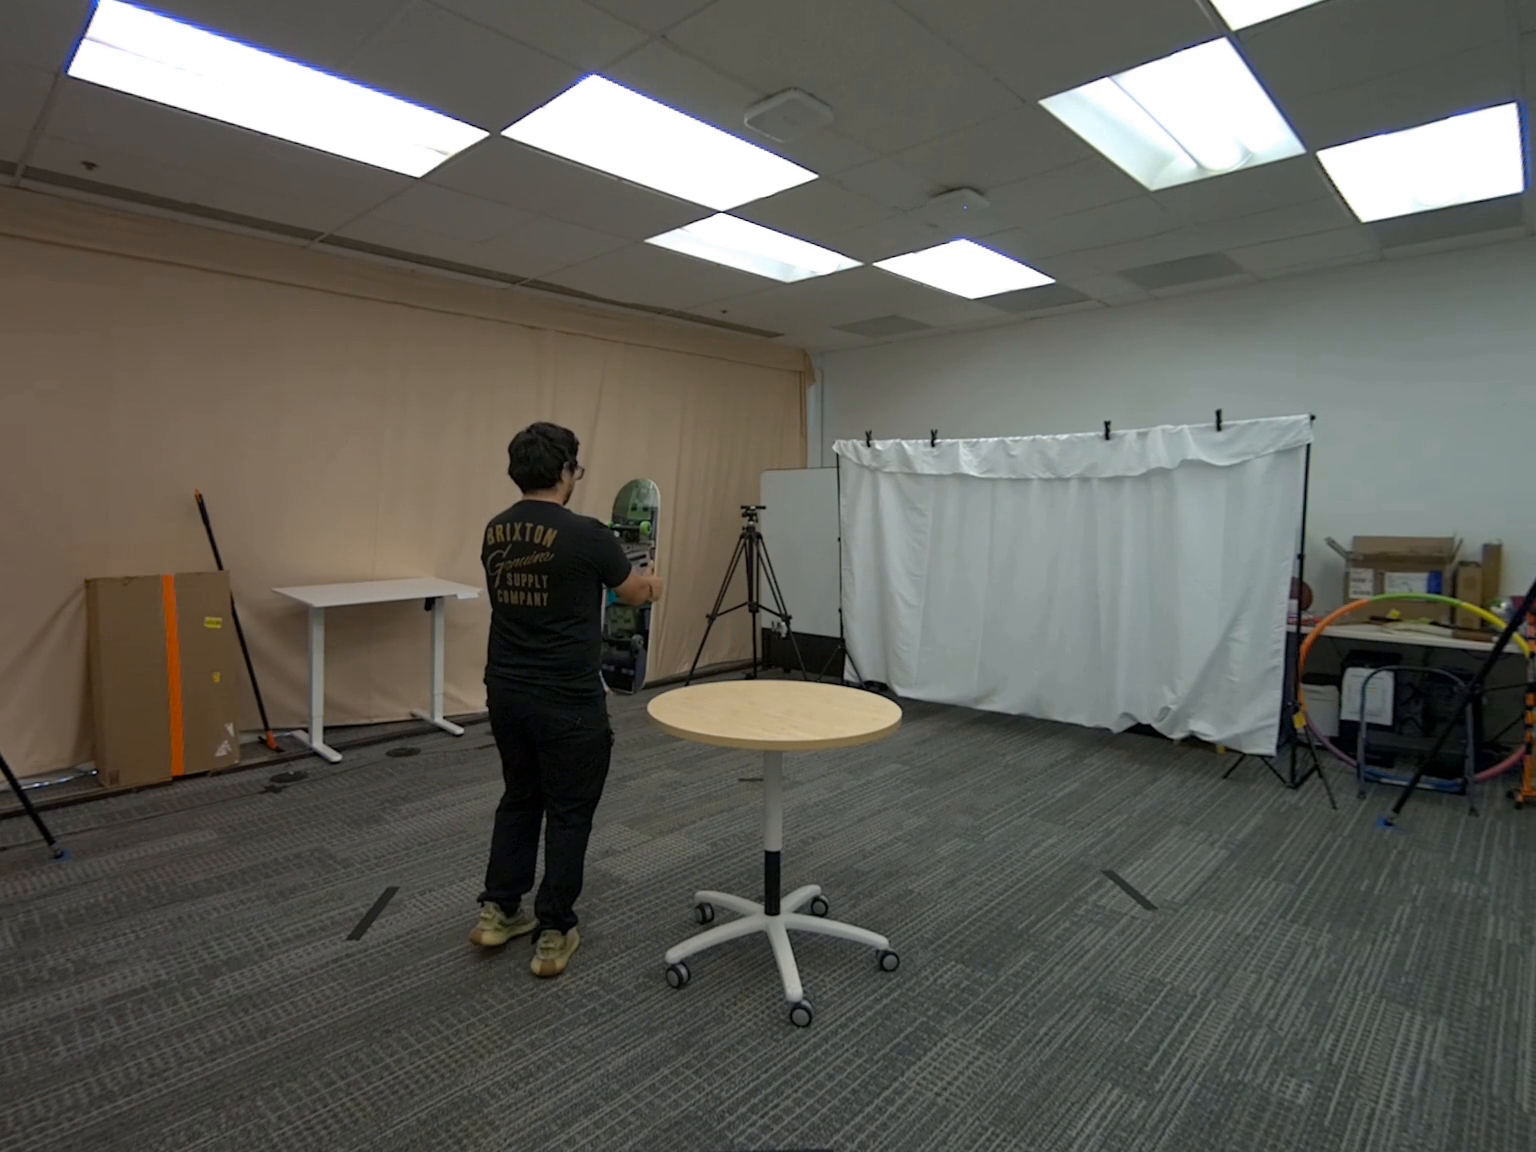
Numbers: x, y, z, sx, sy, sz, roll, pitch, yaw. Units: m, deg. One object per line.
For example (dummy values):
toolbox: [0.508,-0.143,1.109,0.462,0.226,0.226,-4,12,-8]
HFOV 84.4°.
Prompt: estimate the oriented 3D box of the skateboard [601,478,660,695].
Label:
skateboard: [-0.508,0.036,3.008,0.198,0.788,0.107,2,-6,22]
